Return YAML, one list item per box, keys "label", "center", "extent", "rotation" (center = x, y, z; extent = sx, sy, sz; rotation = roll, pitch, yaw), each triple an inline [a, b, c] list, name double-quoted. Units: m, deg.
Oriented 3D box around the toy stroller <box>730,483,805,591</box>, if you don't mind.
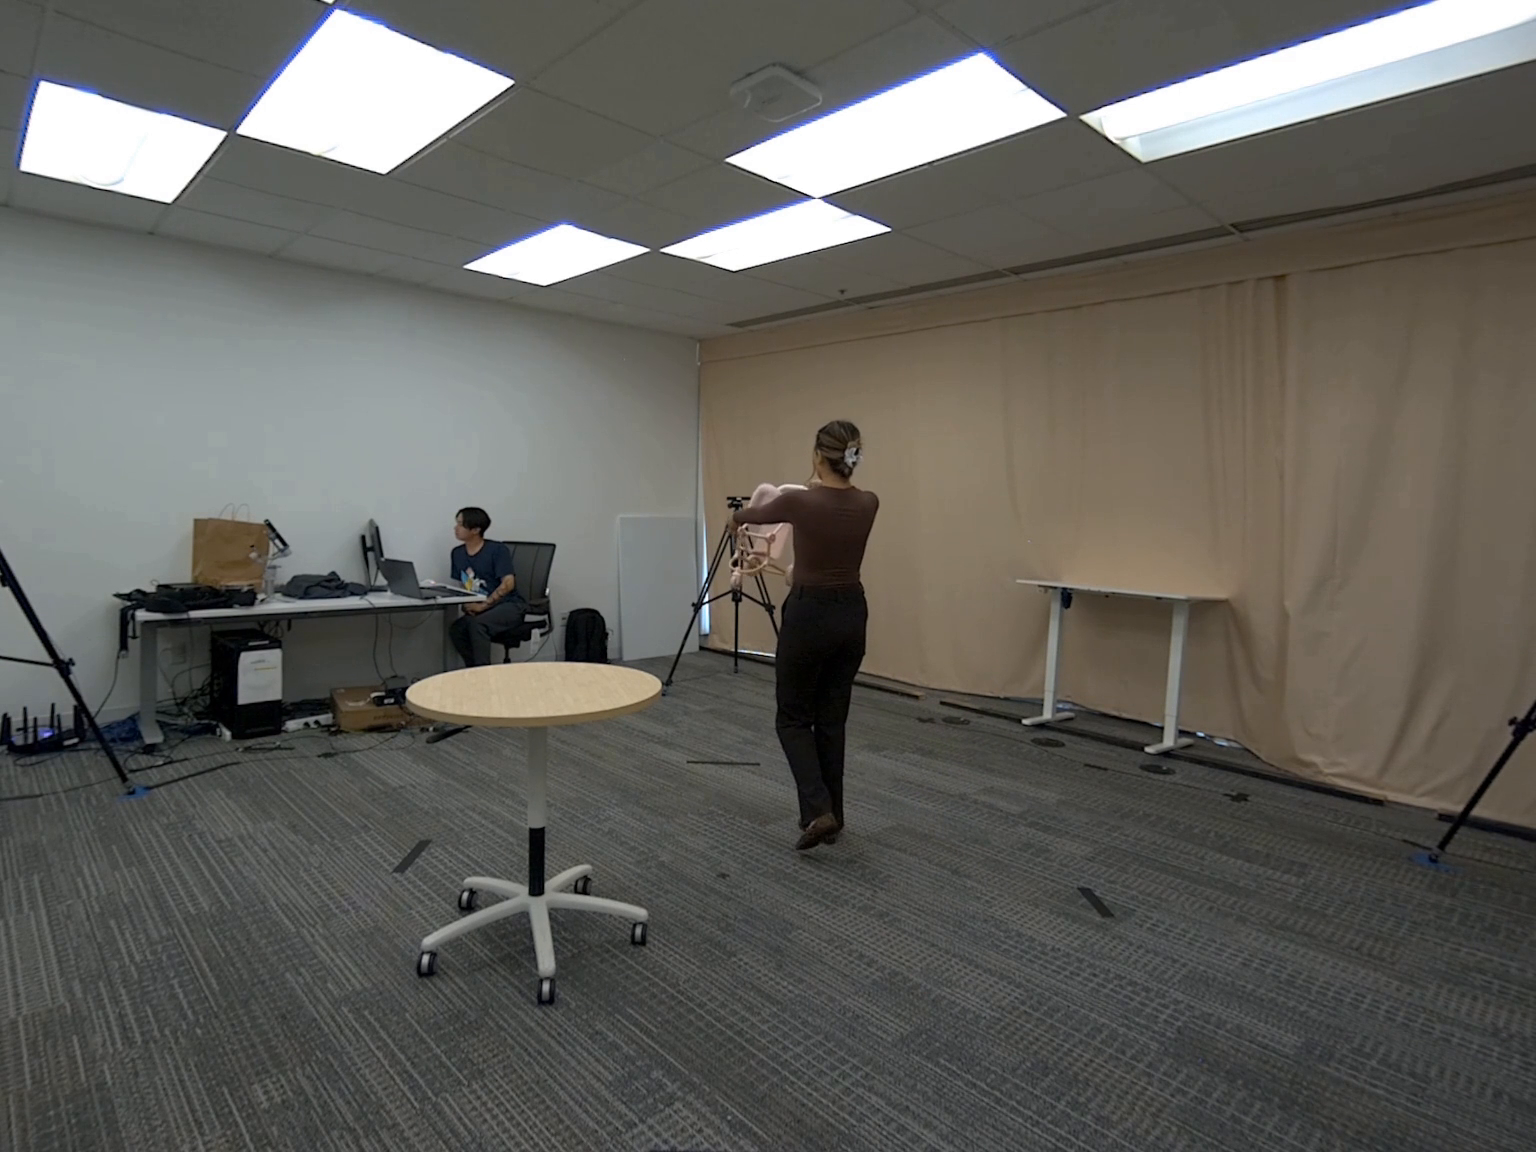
- label: "toy stroller"
  center: [-0.031, -0.185, 3.933]
  extent: [0.332, 0.535, 0.289]
  rotation: [11, 1, -44]
